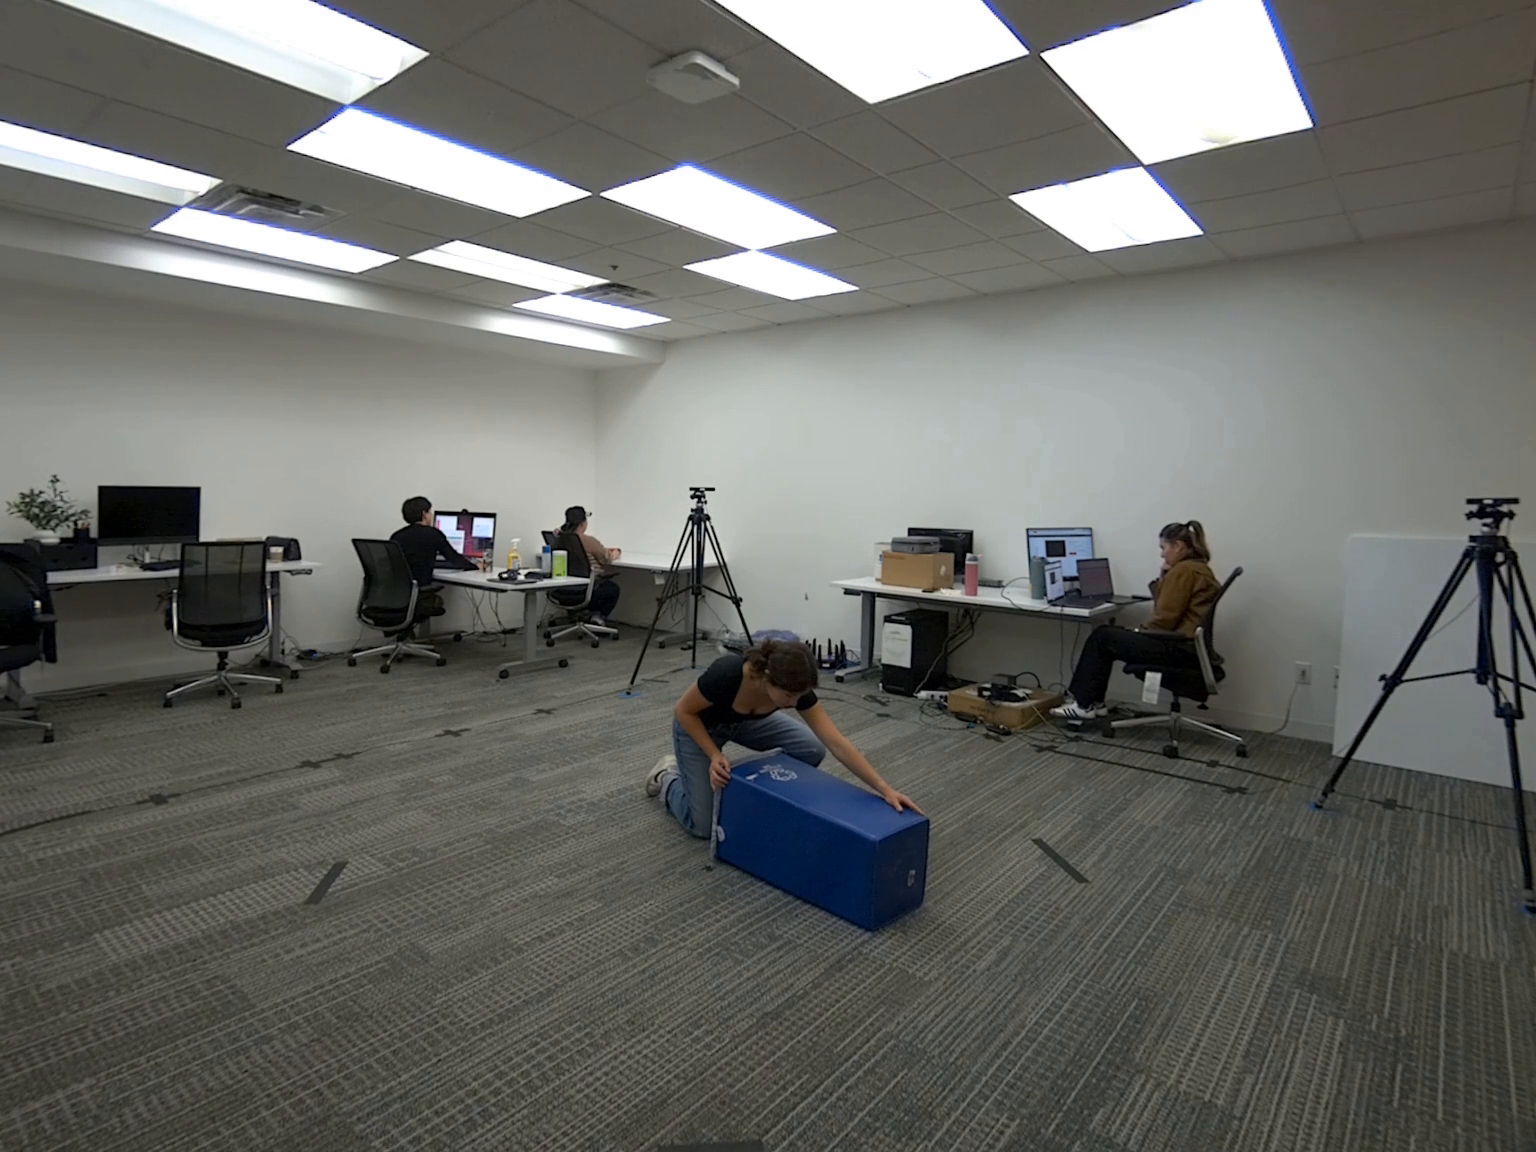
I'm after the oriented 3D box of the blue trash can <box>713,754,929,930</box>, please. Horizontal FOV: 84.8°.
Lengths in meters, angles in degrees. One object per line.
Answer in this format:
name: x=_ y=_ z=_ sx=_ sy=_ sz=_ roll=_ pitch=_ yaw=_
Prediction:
blue trash can: x=0.175 y=0.921 z=3.022 sx=0.740 sy=0.376 sz=0.362 roll=10 pitch=8 yaw=44
